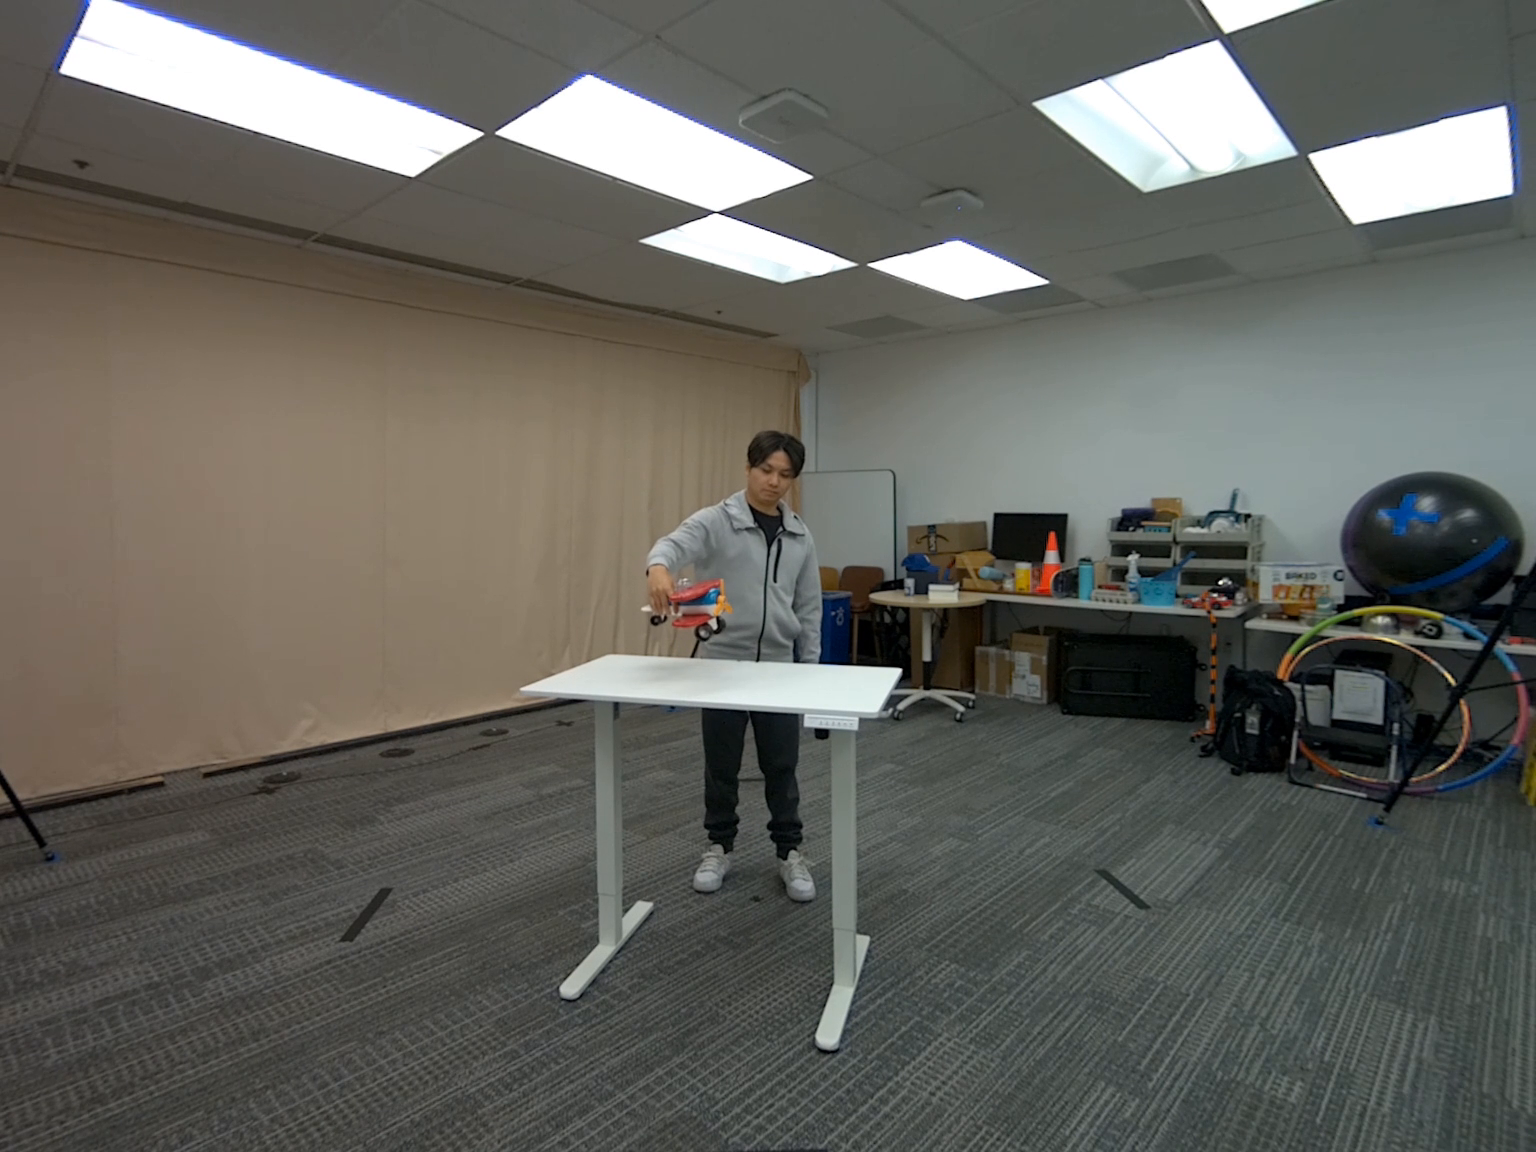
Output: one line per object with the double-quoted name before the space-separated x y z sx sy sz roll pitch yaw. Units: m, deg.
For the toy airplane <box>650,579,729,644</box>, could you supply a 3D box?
"toy airplane" -0.245 0.093 2.502 0.258 0.155 0.254 6 14 -4
